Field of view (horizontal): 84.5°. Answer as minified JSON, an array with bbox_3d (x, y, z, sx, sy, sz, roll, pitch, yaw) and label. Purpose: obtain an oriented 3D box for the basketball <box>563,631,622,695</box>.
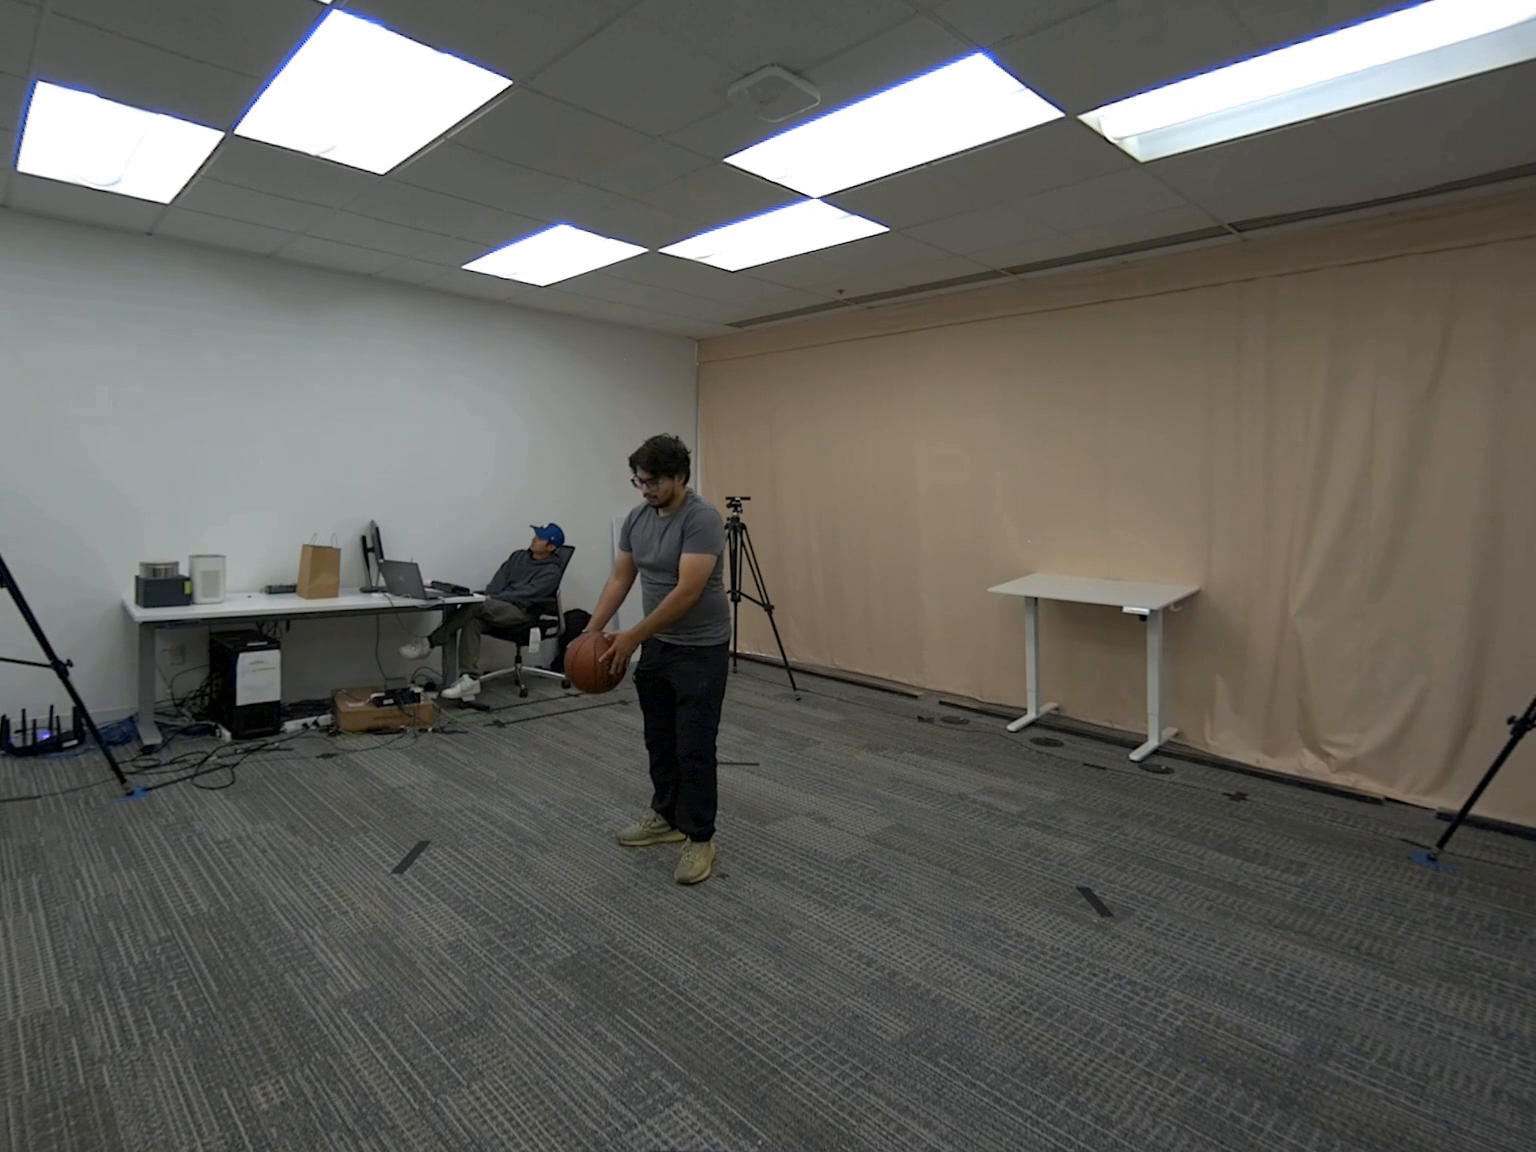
[{"bbox_3d":[-0.657,0.322,3.209,0.236,0.235,0.237,1,4,-1],"label":"basketball"}]
